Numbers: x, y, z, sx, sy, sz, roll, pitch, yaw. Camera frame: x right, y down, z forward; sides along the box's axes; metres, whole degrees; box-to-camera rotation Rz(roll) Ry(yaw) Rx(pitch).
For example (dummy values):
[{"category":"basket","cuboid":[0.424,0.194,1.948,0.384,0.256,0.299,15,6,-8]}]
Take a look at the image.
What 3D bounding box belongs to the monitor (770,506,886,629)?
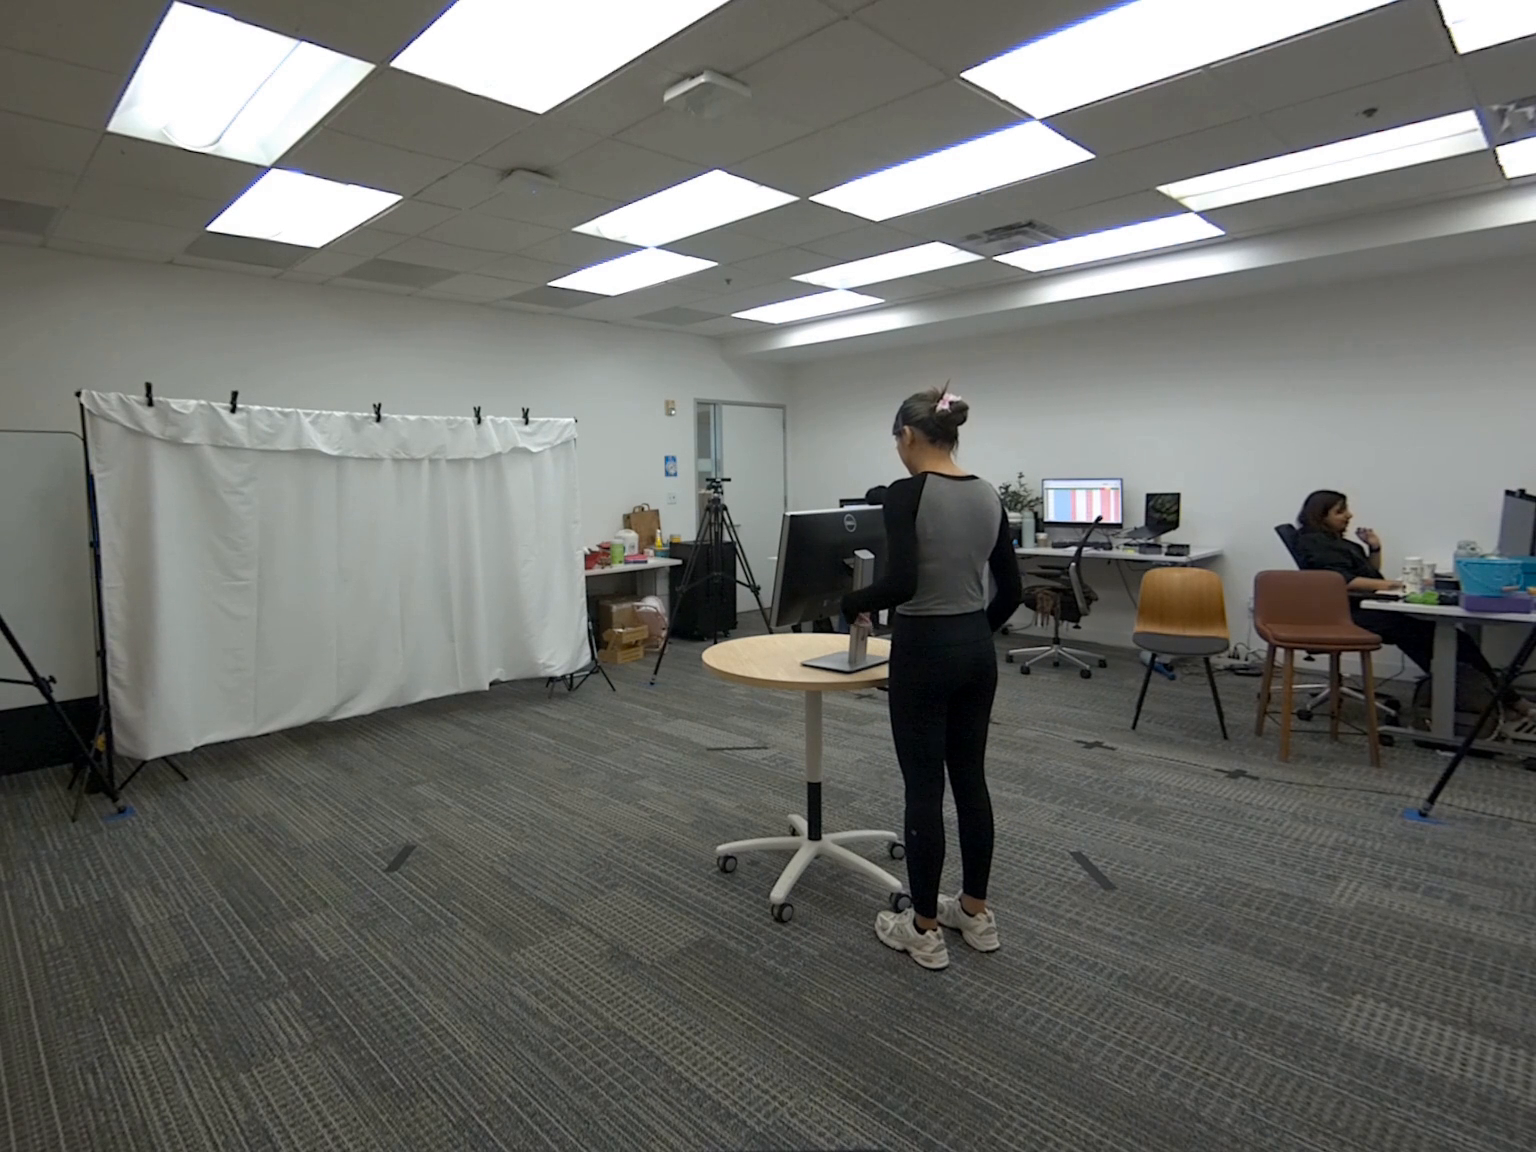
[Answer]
[{"category":"monitor","cuboid":[0.256,0.041,2.771,0.192,0.521,0.525,-1,4,43]}]
